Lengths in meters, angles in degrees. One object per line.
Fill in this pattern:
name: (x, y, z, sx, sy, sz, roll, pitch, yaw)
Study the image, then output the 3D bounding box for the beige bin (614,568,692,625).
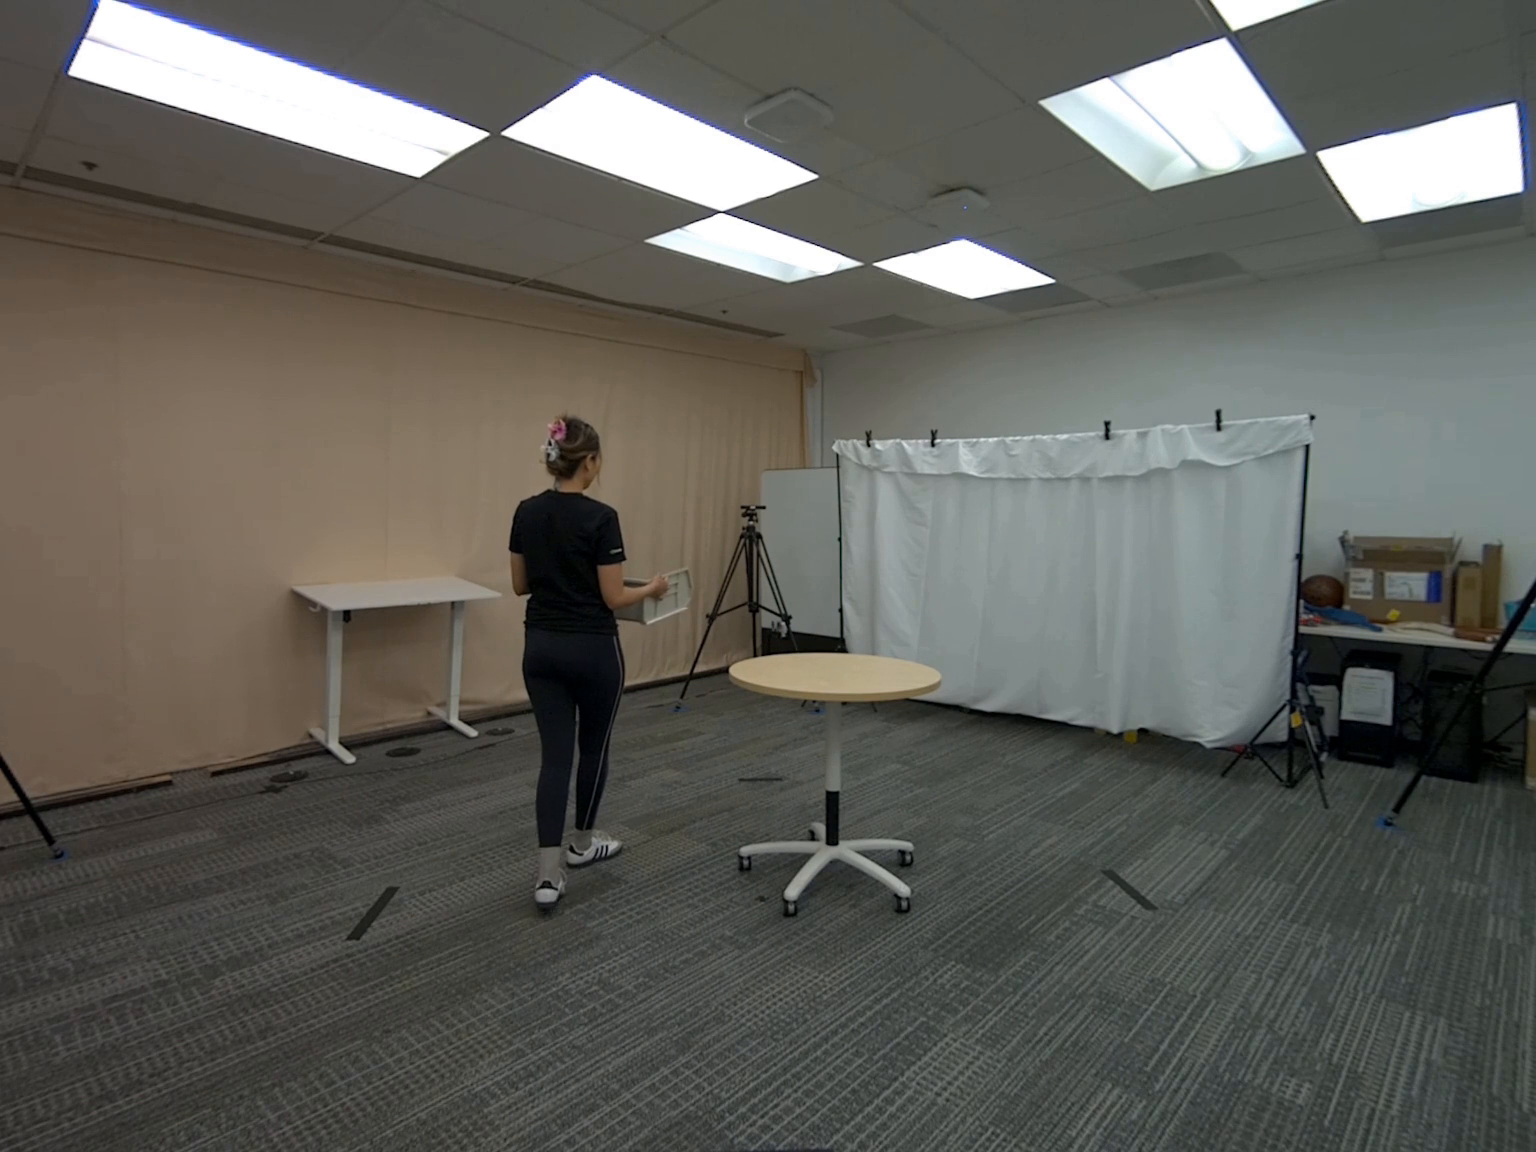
beige bin: (-0.578, 0.059, 3.510, 0.434, 0.187, 0.370, 6, 13, 26)
